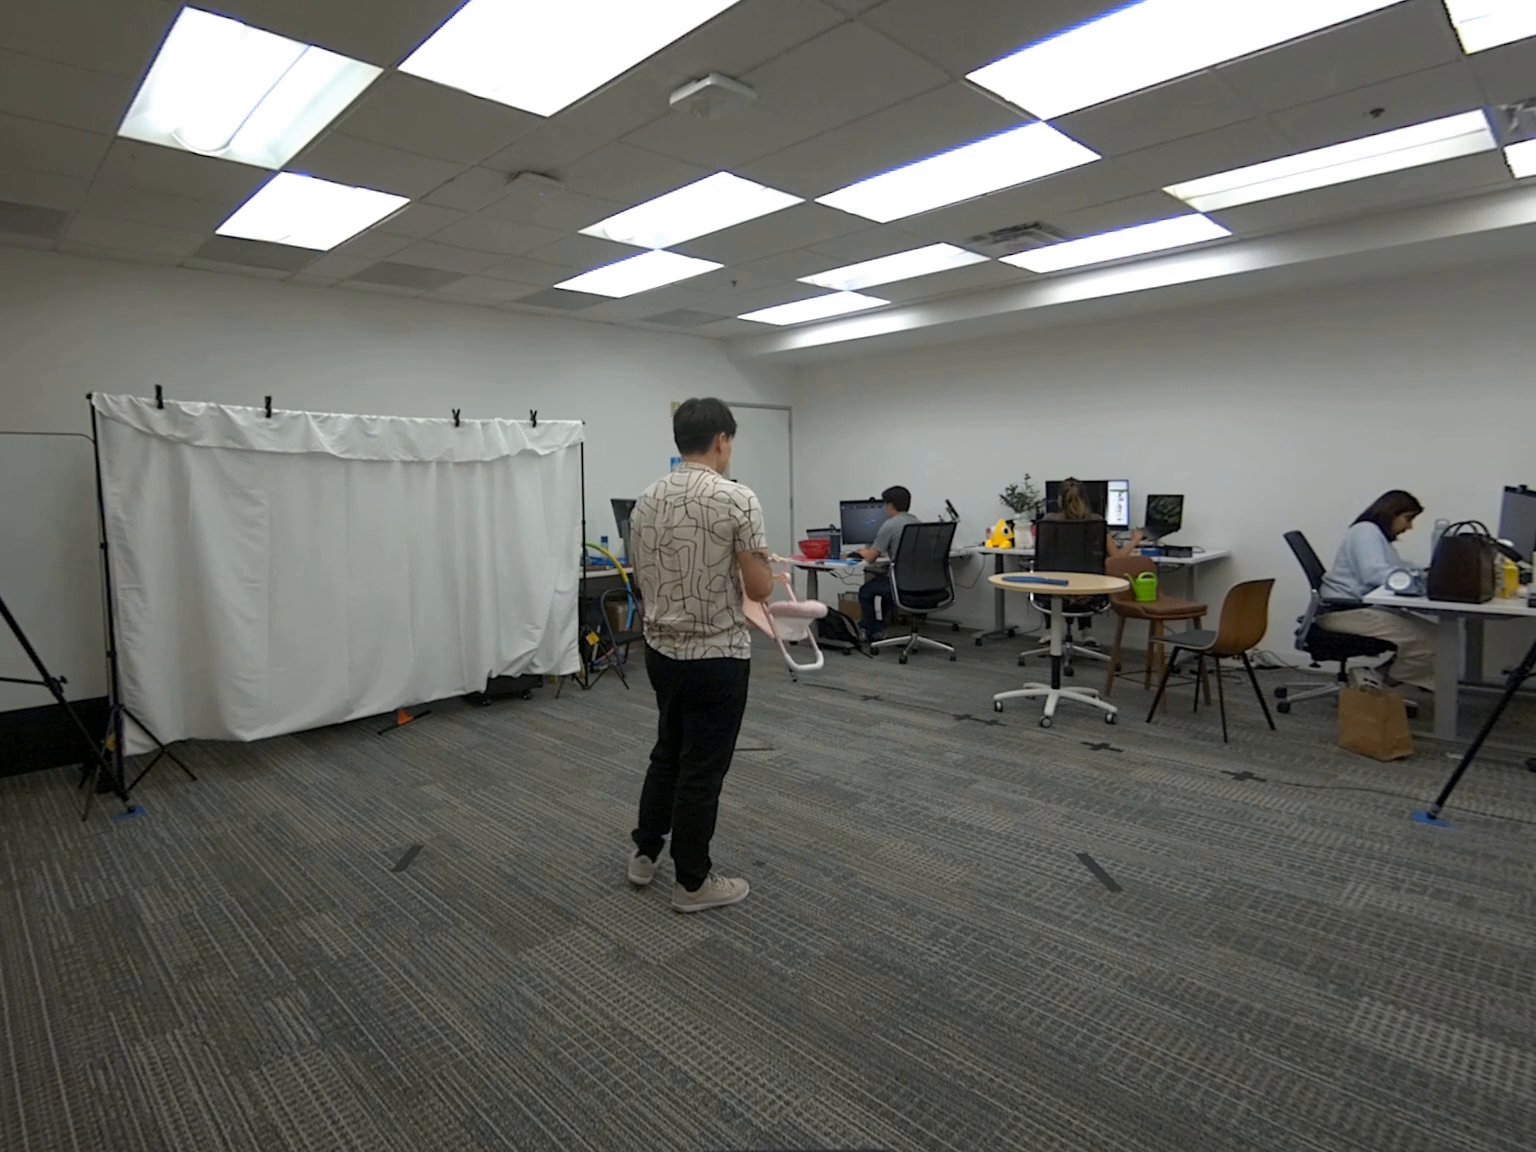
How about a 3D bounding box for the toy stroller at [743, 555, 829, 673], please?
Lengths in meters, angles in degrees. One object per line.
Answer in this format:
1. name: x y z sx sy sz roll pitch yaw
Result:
1. toy stroller: -0.008 0.079 3.054 0.554 0.340 0.272 21 8 39
